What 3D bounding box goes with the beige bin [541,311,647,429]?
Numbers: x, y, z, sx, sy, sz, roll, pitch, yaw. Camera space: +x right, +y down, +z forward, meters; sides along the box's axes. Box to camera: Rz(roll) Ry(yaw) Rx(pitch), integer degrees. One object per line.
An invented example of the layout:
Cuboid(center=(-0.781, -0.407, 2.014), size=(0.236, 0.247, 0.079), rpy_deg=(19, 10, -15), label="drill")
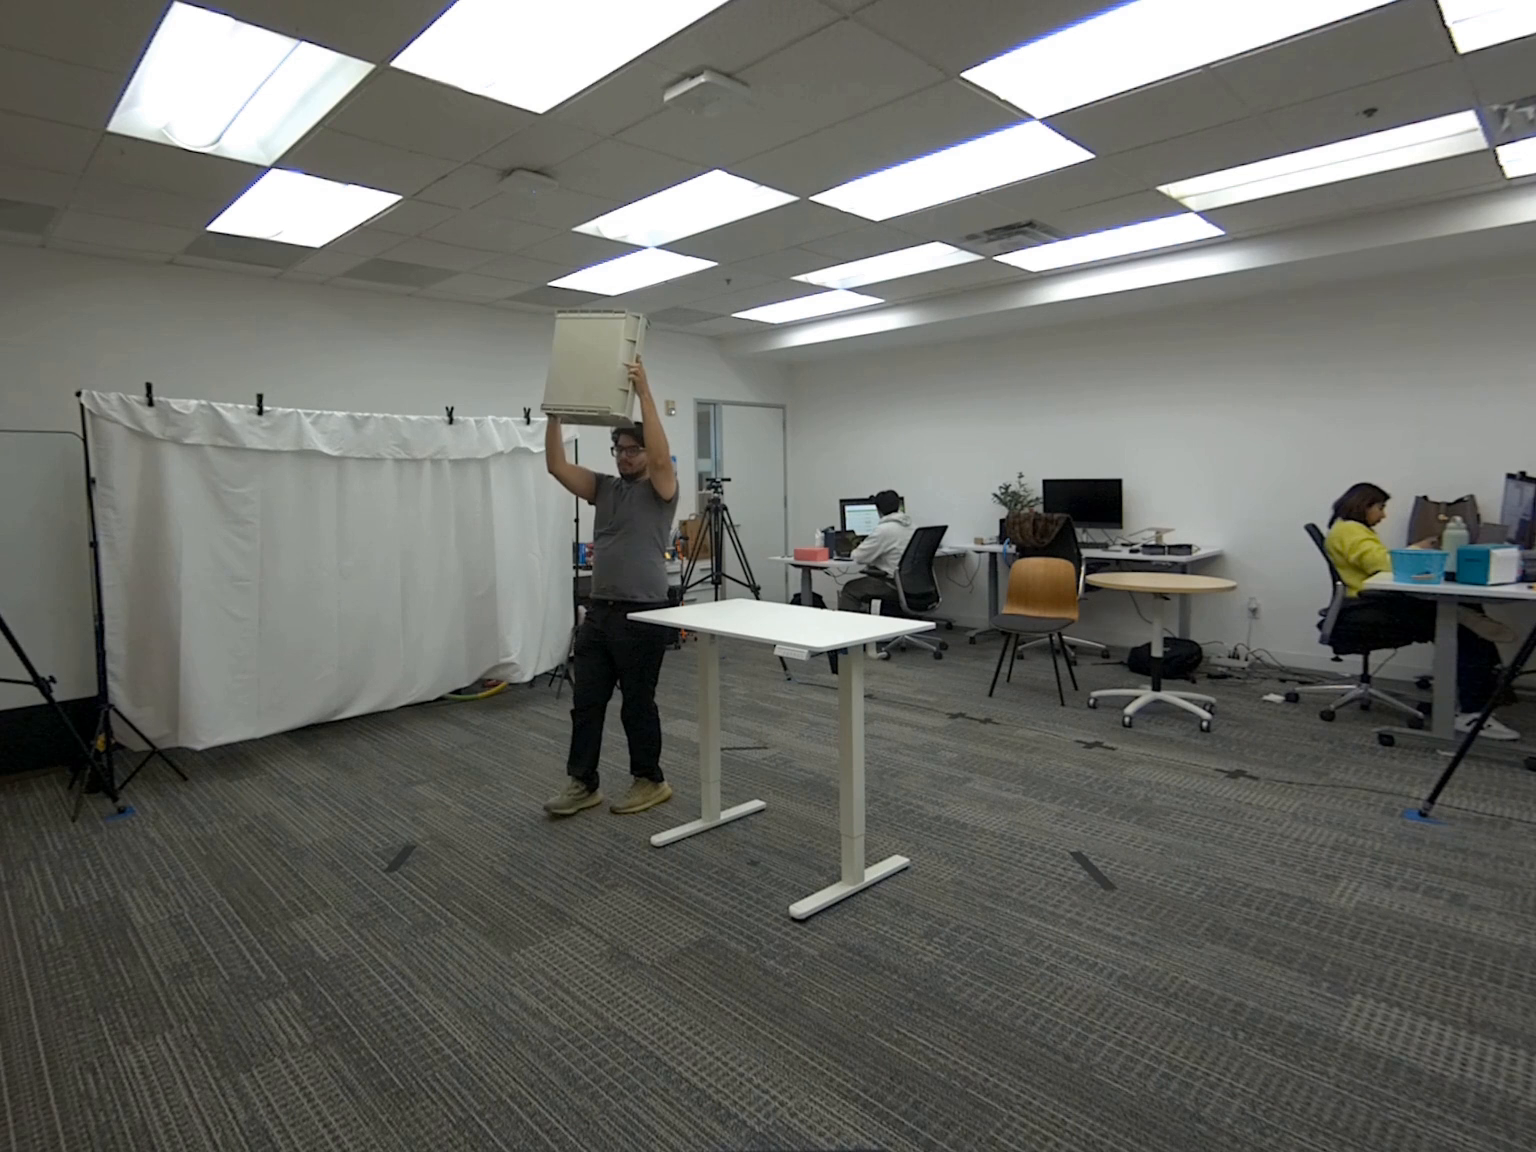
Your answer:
Cuboid(center=(-0.663, -0.810, 3.341), size=(0.386, 0.423, 0.184), rpy_deg=(6, -4, 21), label="beige bin")
